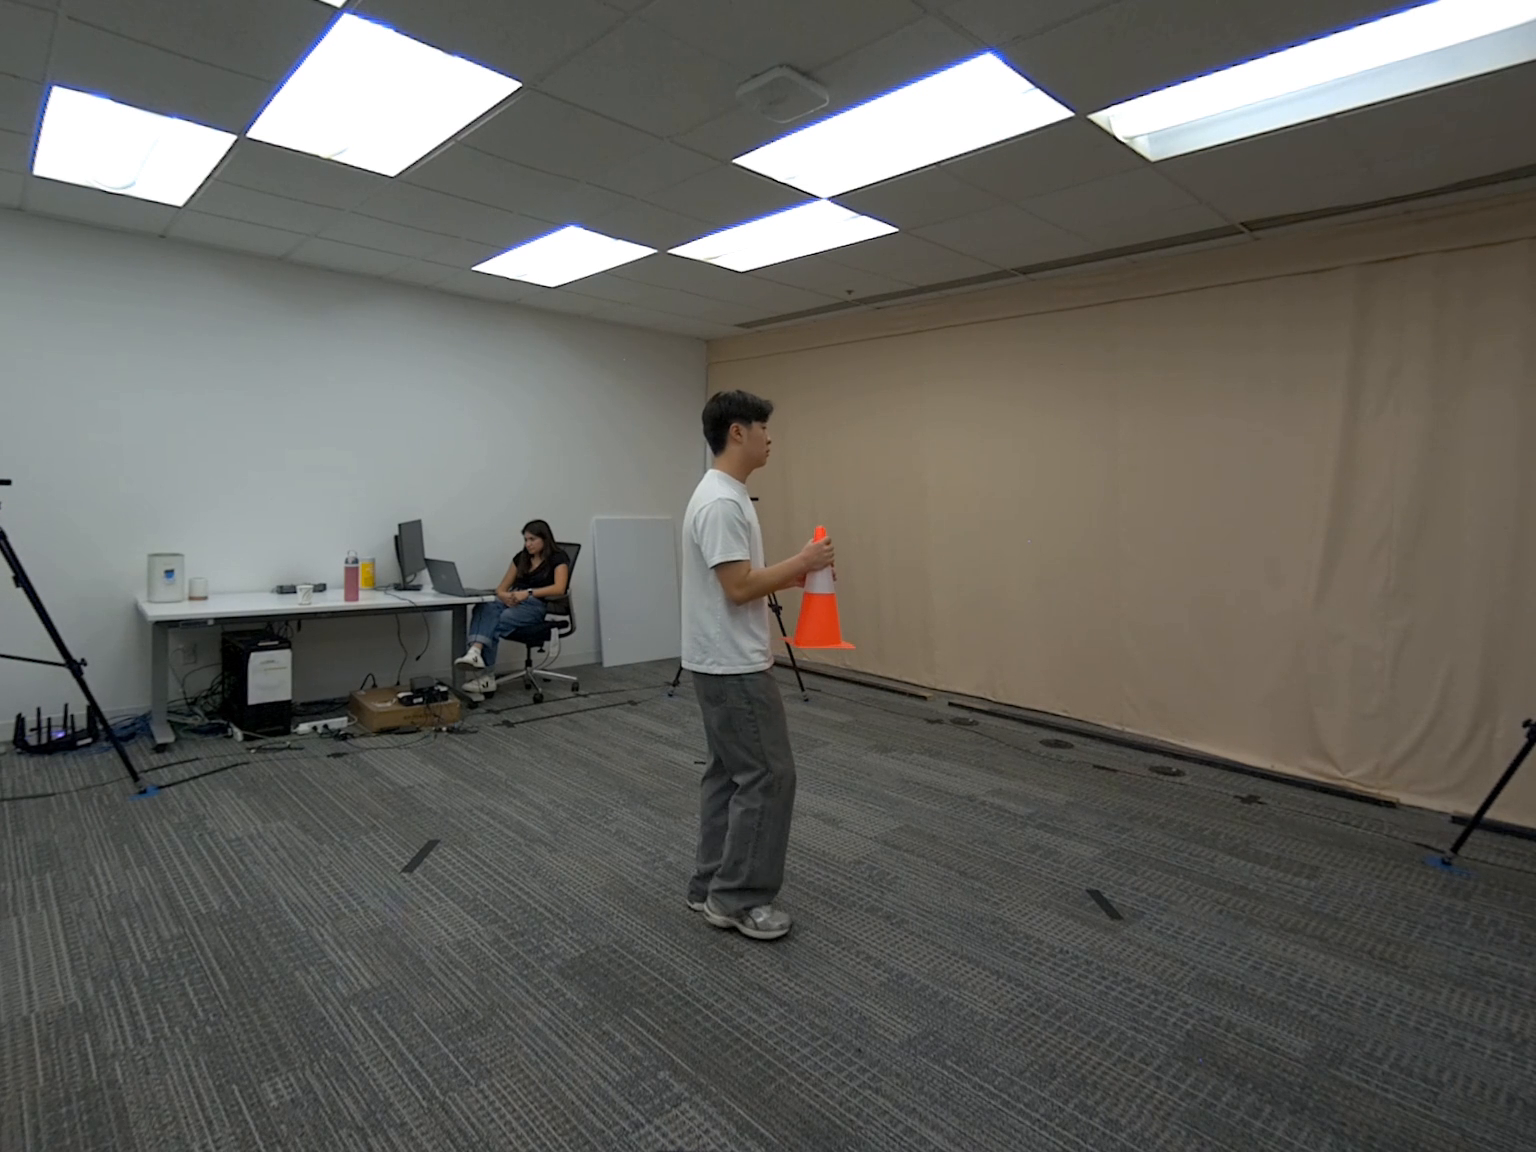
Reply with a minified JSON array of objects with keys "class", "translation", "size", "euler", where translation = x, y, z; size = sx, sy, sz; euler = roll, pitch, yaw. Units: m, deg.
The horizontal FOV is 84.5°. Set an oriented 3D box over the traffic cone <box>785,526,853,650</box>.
[{"class":"traffic cone","translation":[0.157,0.037,2.722],"size":[0.203,0.382,0.206],"euler":[2,6,-3]}]
